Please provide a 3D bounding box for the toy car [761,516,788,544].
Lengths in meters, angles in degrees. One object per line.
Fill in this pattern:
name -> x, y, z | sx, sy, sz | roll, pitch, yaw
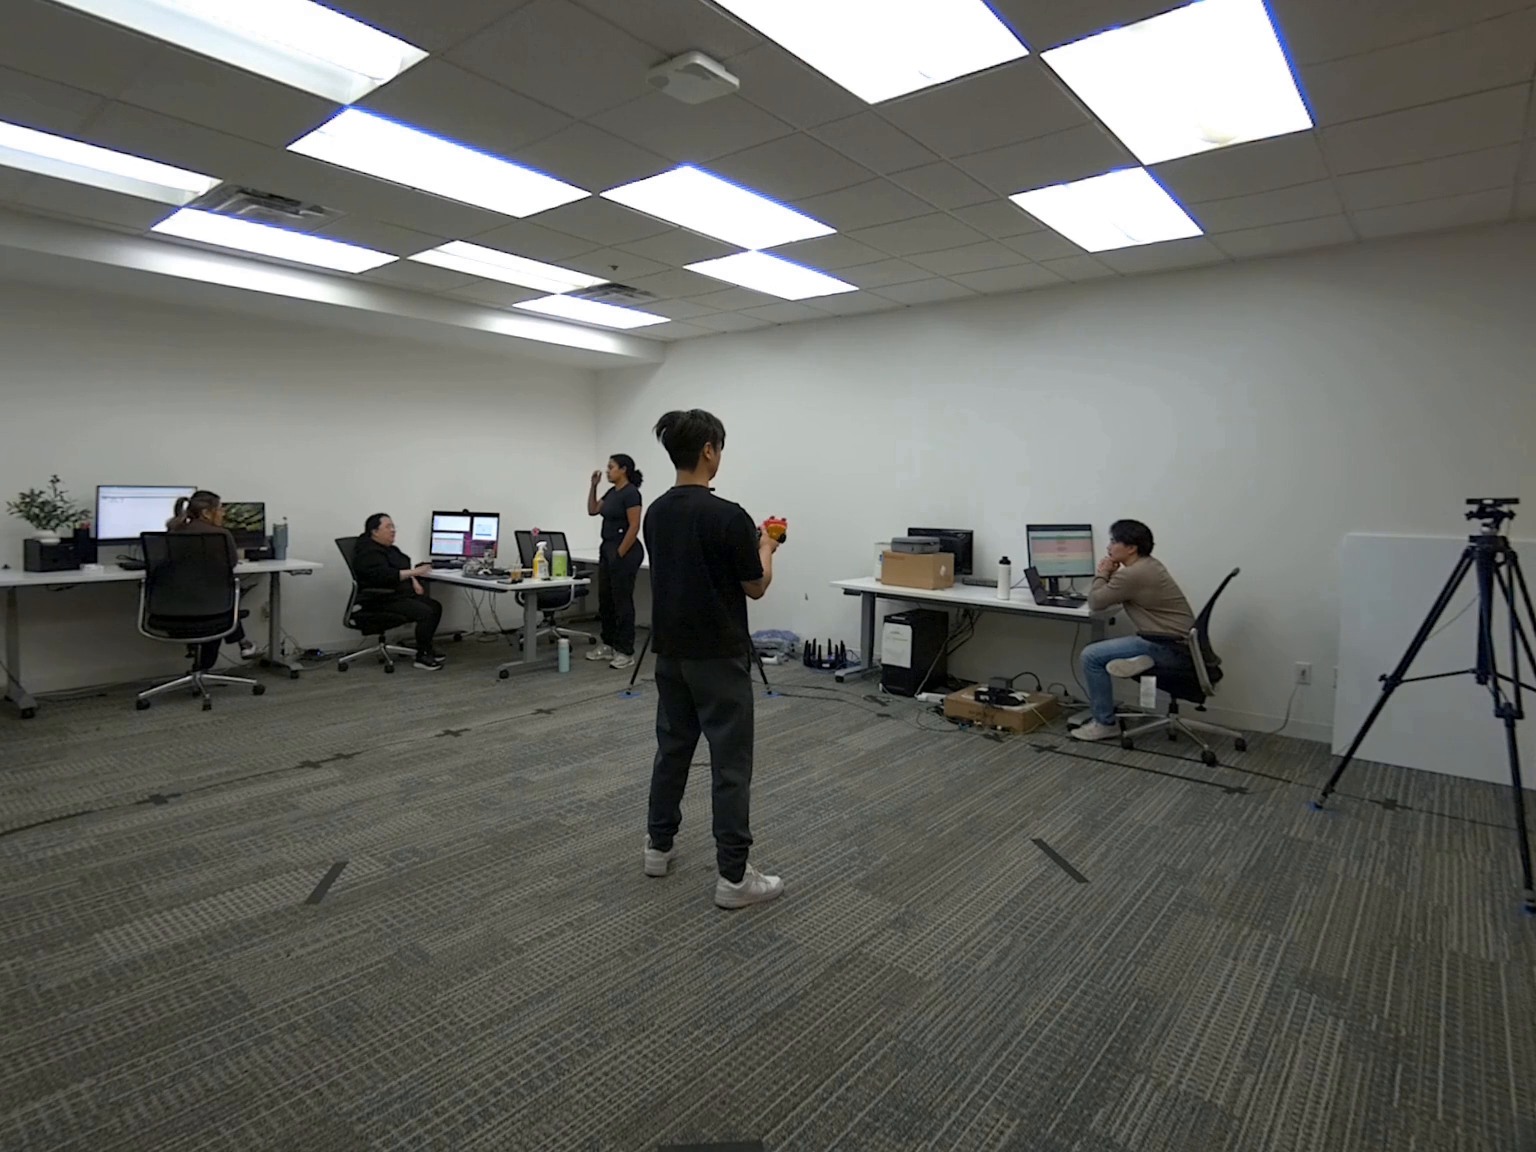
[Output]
toy car -> -0.022, -0.136, 3.297 | 0.126, 0.252, 0.086 | 10, 34, -32
